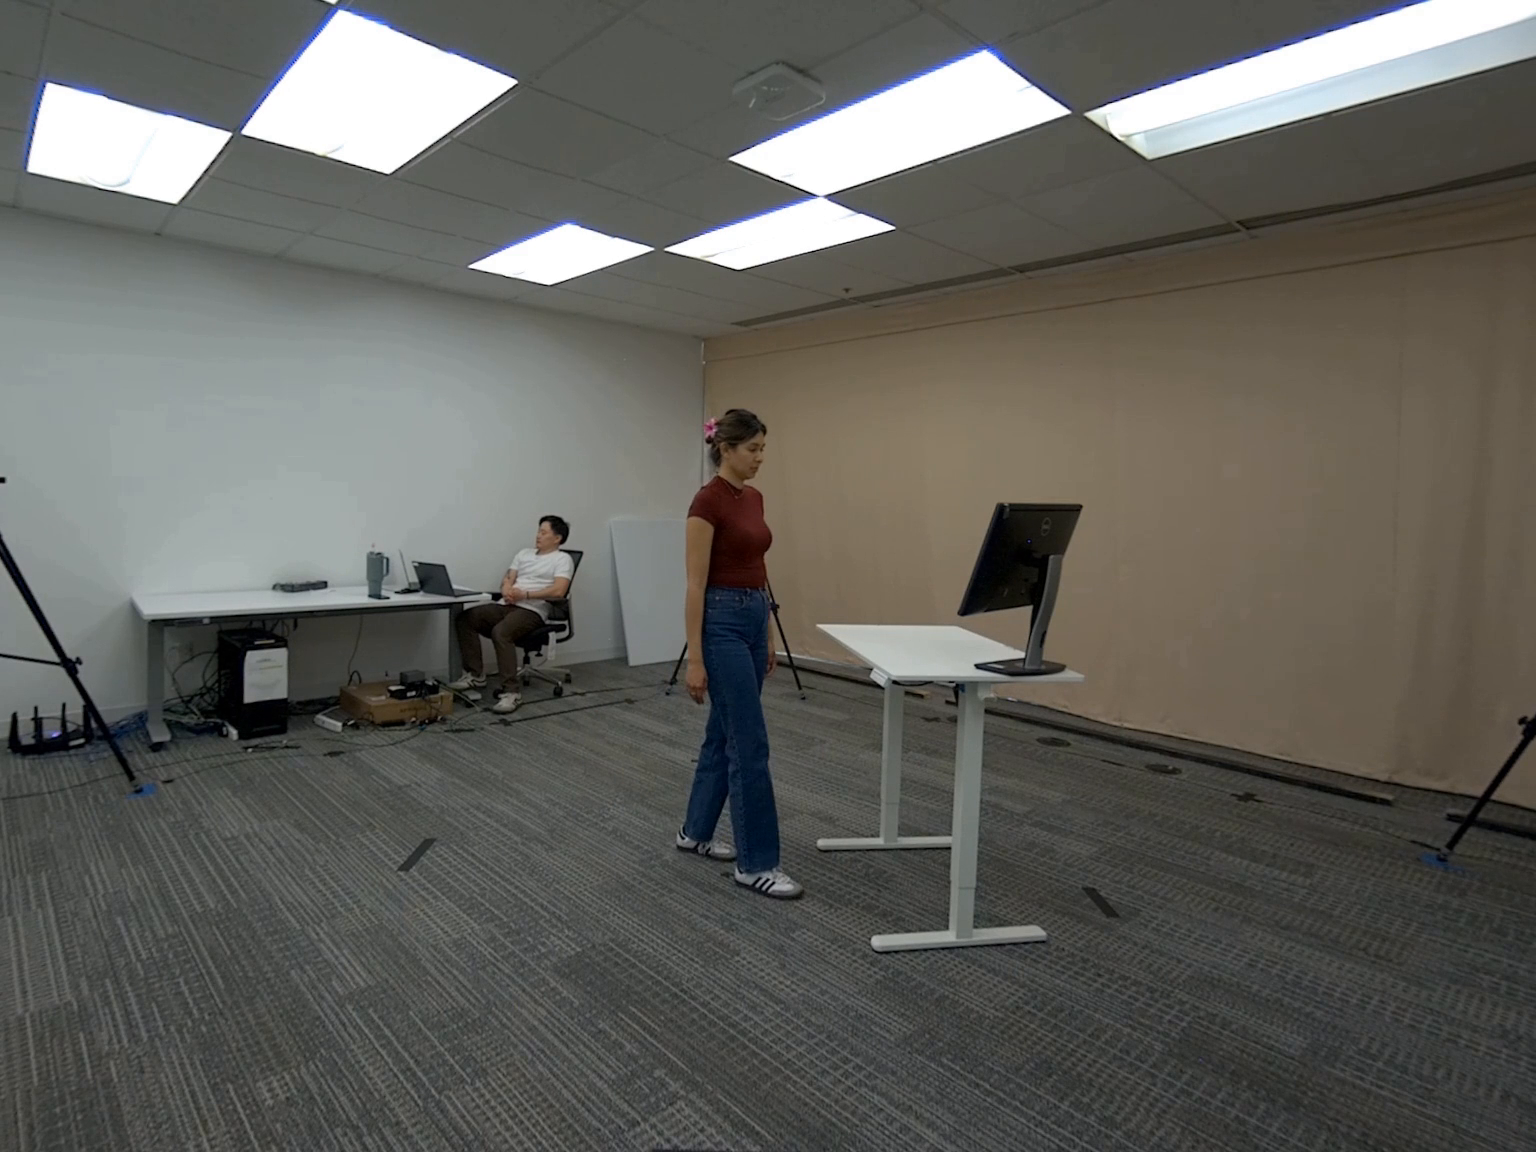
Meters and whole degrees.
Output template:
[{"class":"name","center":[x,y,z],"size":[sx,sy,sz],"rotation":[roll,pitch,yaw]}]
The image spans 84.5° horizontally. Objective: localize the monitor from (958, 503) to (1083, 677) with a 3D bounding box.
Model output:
[{"class":"monitor","center":[0.802,0.038,2.583],"size":[0.192,0.520,0.527],"rotation":[8,8,41]}]
